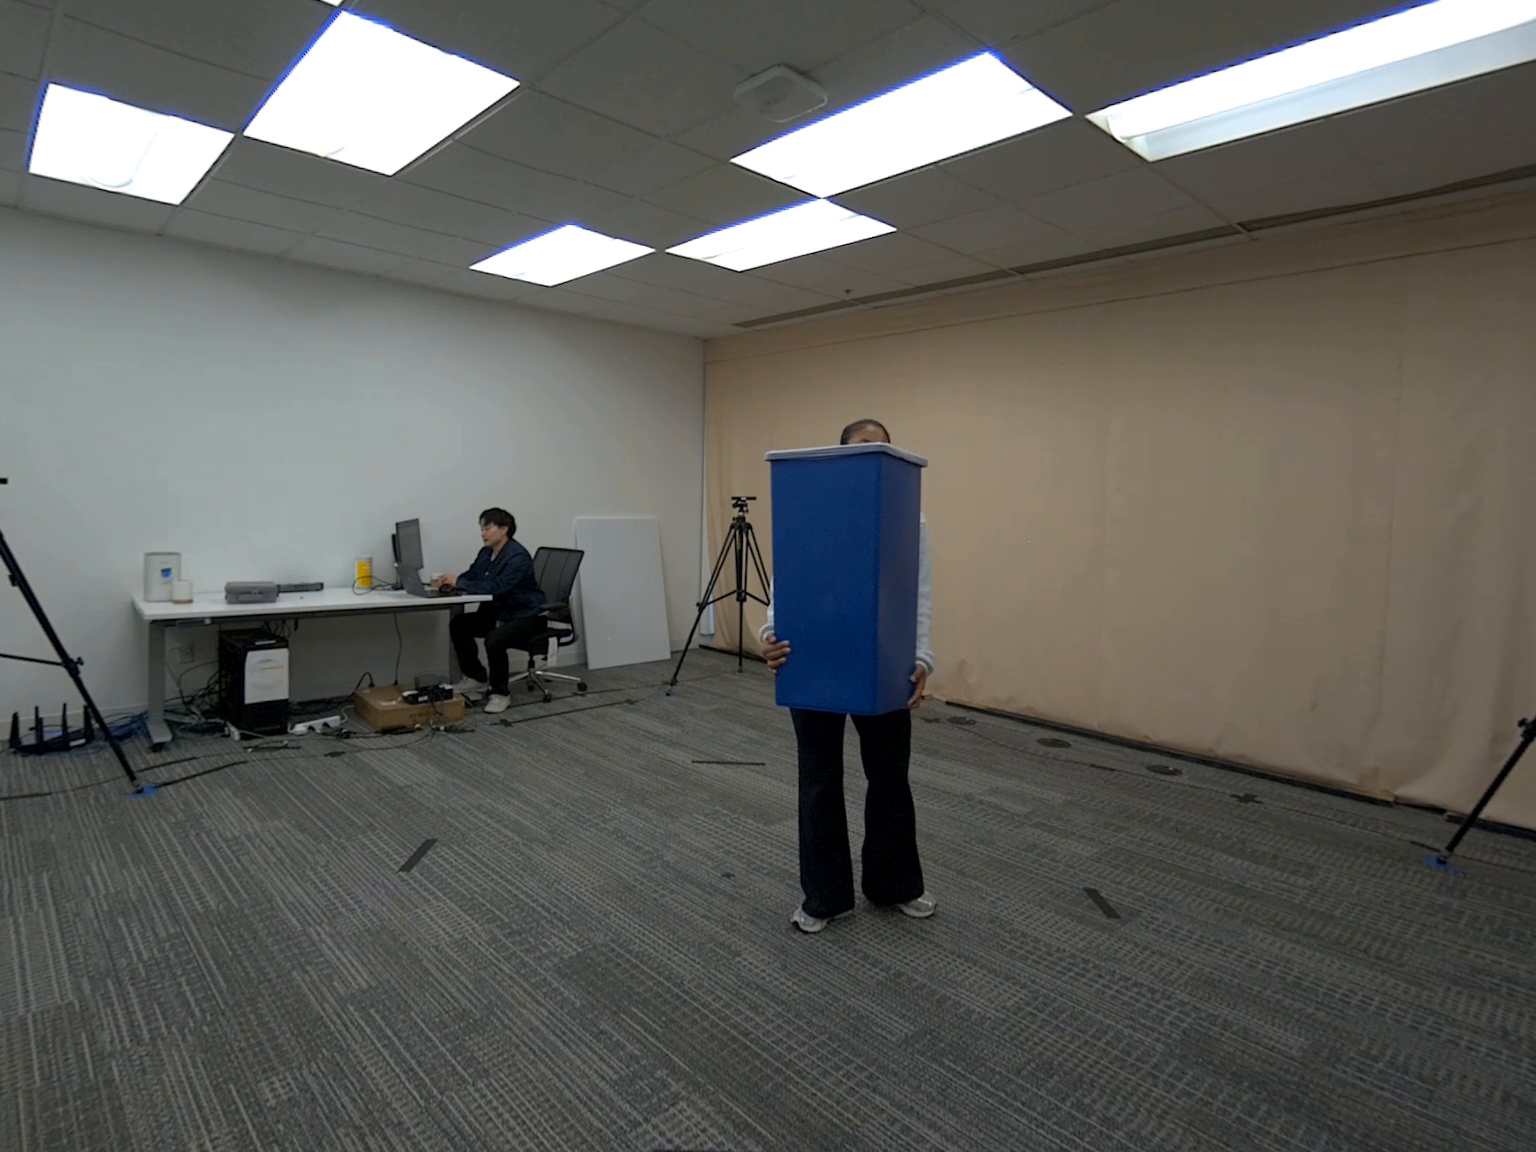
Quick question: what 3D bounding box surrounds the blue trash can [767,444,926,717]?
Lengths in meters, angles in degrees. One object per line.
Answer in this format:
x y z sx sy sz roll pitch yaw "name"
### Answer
0.216 0.010 2.411 0.382 0.715 0.369 0 -3 33 "blue trash can"
